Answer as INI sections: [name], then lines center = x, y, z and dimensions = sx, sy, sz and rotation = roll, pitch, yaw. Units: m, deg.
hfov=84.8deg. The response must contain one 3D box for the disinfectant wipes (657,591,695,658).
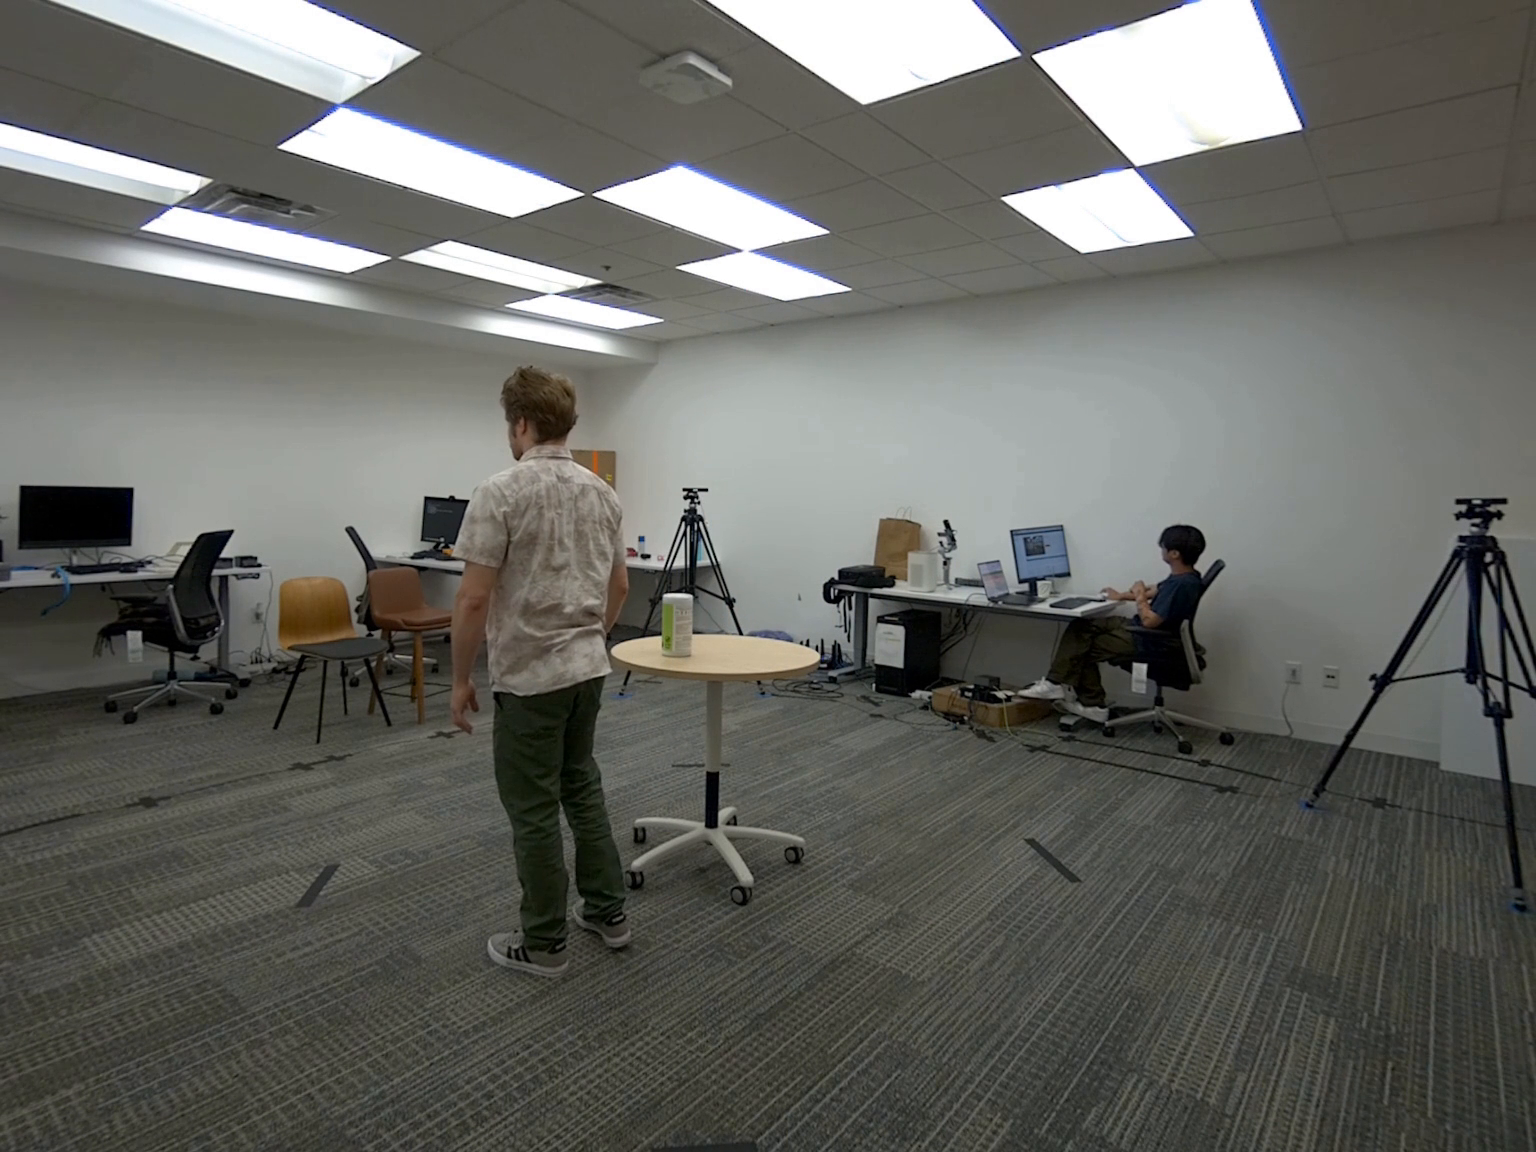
[disinfectant wipes]
center = -0.332, 0.171, 3.035
dimensions = 0.118, 0.217, 0.118
rotation = -3, 2, -2
